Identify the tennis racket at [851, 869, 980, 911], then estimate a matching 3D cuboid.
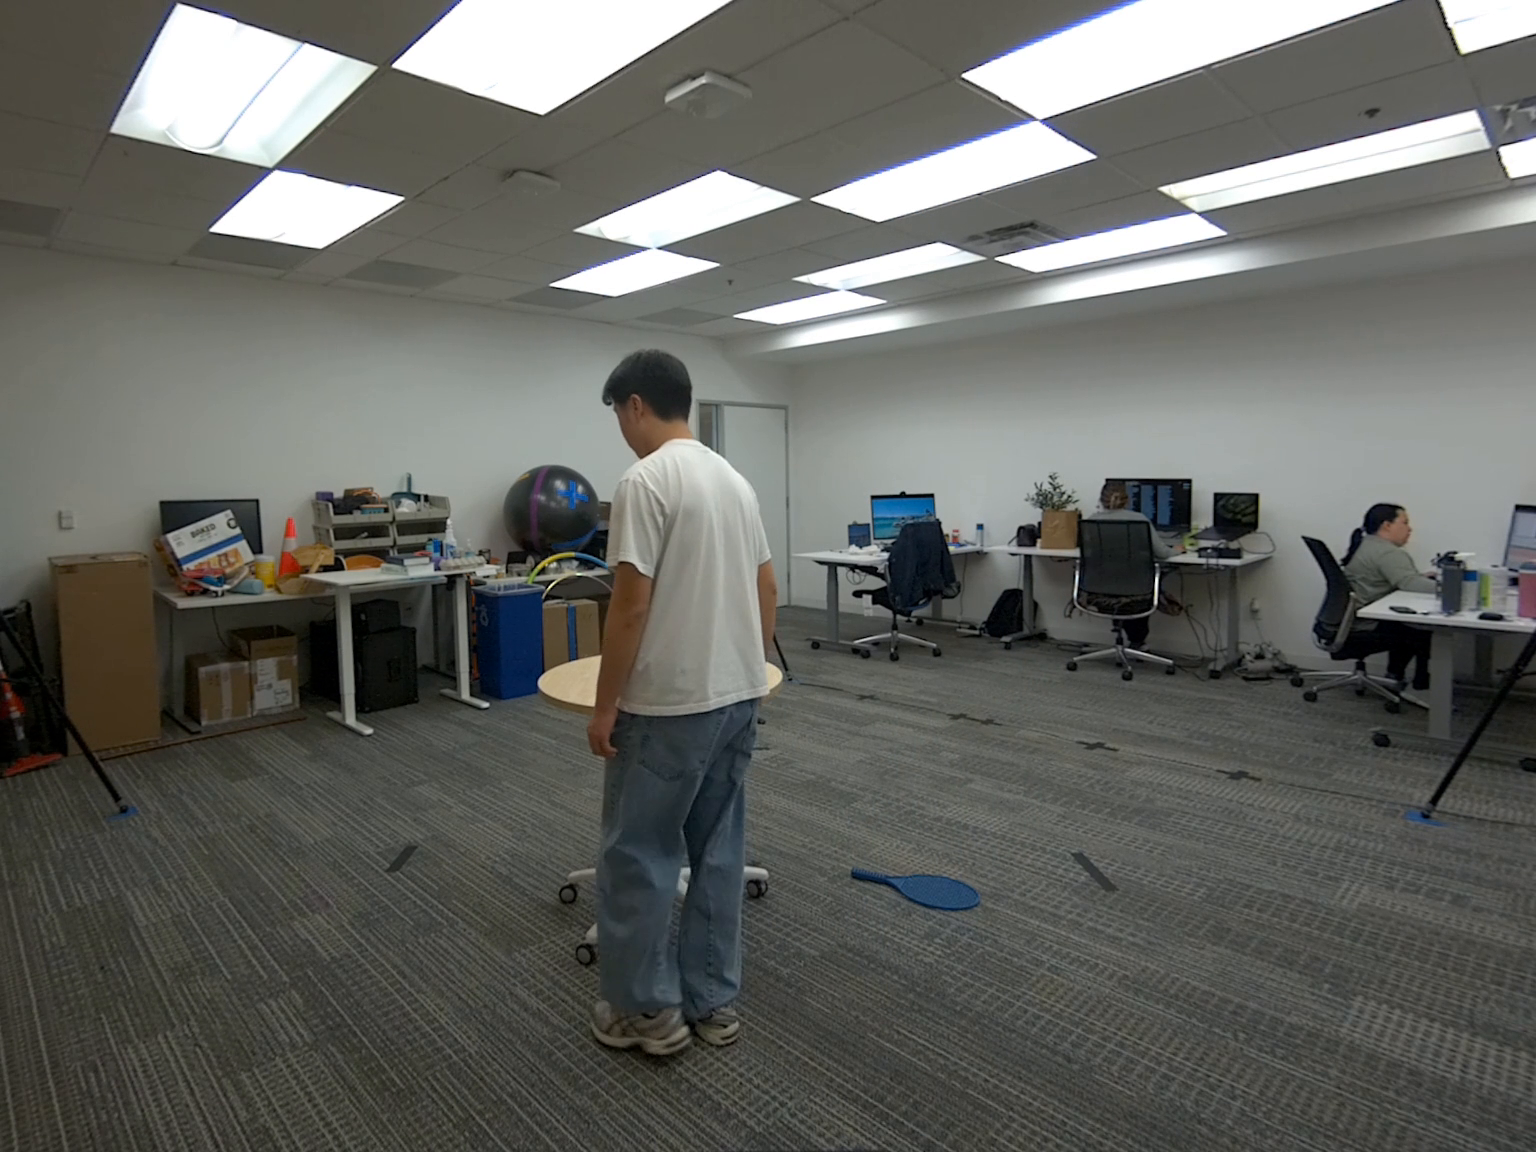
[{"bbox_3d":[0.495,1.047,2.890,0.444,0.031,0.209,4,7,27],"label":"tennis racket"}]
